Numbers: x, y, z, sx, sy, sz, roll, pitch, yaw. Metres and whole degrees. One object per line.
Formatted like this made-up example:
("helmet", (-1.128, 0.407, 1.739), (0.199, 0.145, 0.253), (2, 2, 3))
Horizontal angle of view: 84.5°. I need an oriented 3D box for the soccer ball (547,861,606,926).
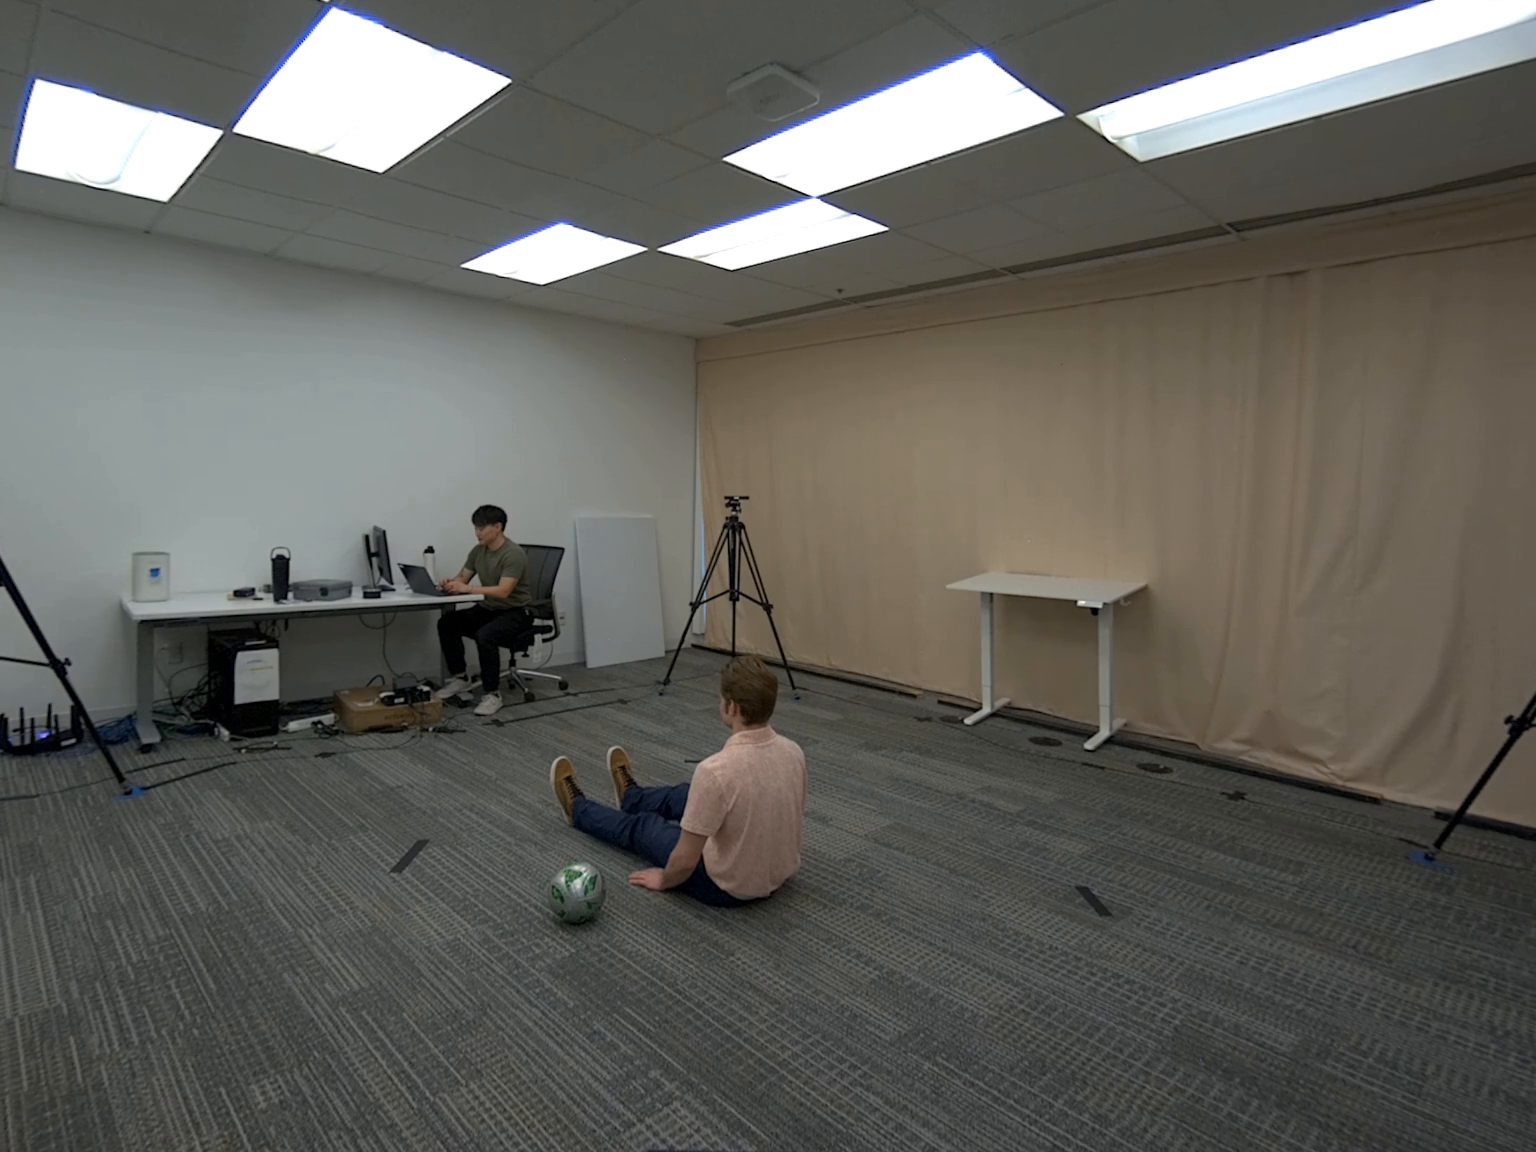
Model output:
("soccer ball", (-0.626, 1.030, 2.751), (0.187, 0.187, 0.188), (1, 4, -1))
